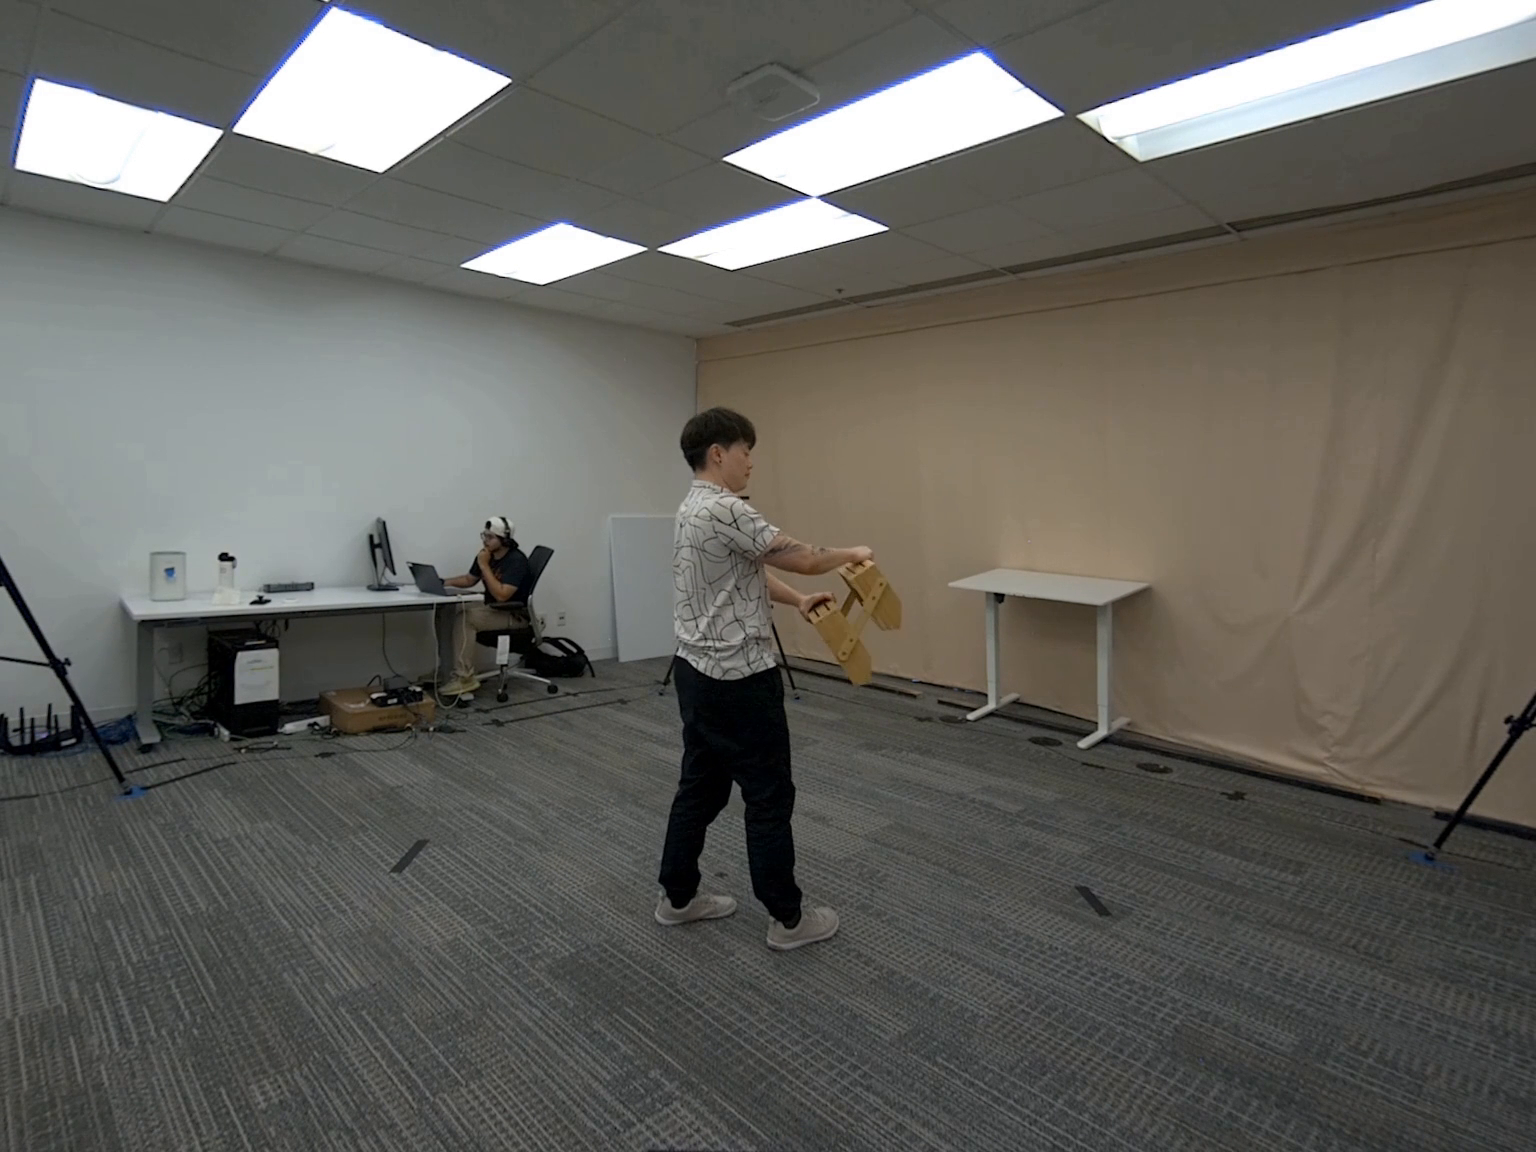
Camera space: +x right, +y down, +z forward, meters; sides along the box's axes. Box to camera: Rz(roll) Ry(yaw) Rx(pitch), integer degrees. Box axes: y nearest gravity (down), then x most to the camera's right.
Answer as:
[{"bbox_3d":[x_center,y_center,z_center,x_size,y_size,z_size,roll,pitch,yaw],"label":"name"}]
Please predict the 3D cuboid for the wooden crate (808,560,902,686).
[{"bbox_3d":[0.295,0.132,2.708,0.273,0.301,0.326,-35,5,1],"label":"wooden crate"}]
